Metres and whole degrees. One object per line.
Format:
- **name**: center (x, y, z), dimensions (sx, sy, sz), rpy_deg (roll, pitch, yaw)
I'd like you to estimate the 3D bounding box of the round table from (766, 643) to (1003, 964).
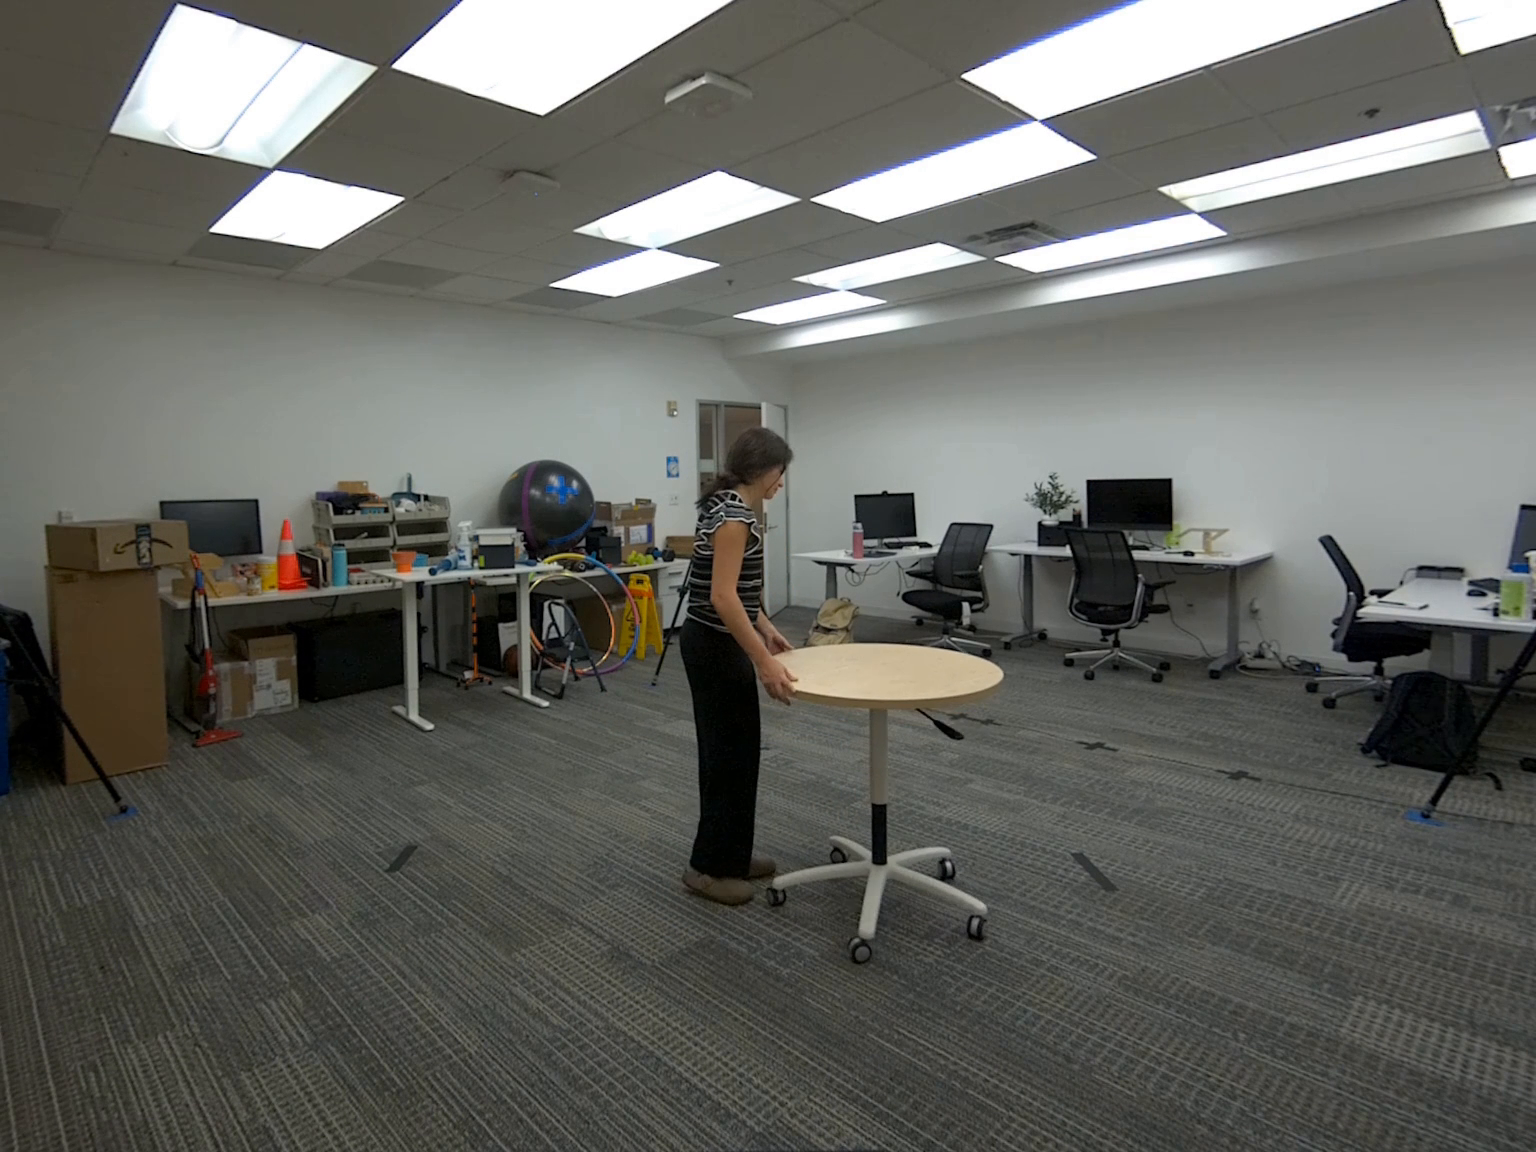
- **round table**: center (0.374, 0.682, 2.751), dimensions (0.784, 0.783, 0.789), rpy_deg (-1, 5, -2)
